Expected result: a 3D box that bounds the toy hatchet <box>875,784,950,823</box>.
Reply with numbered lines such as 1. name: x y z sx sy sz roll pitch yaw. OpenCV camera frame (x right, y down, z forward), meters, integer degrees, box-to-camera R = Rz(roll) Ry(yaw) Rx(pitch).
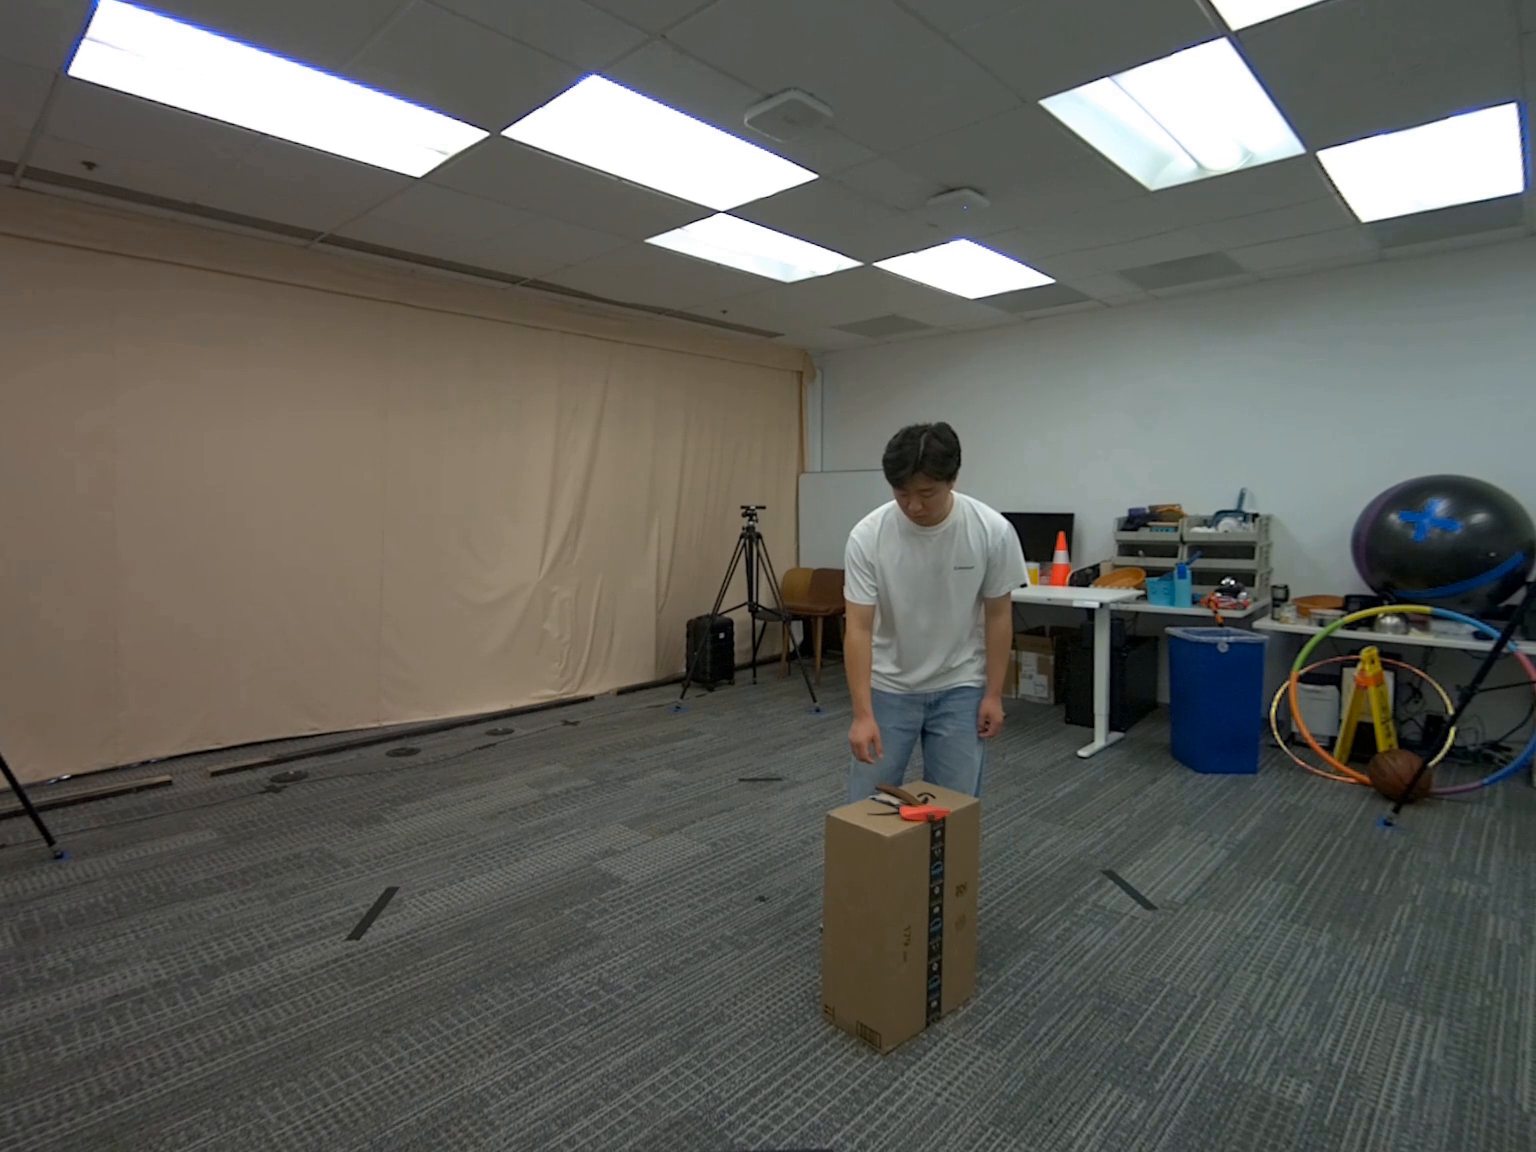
1. toy hatchet: 0.362 0.618 2.318 0.127 0.029 0.278 -7 7 -32
